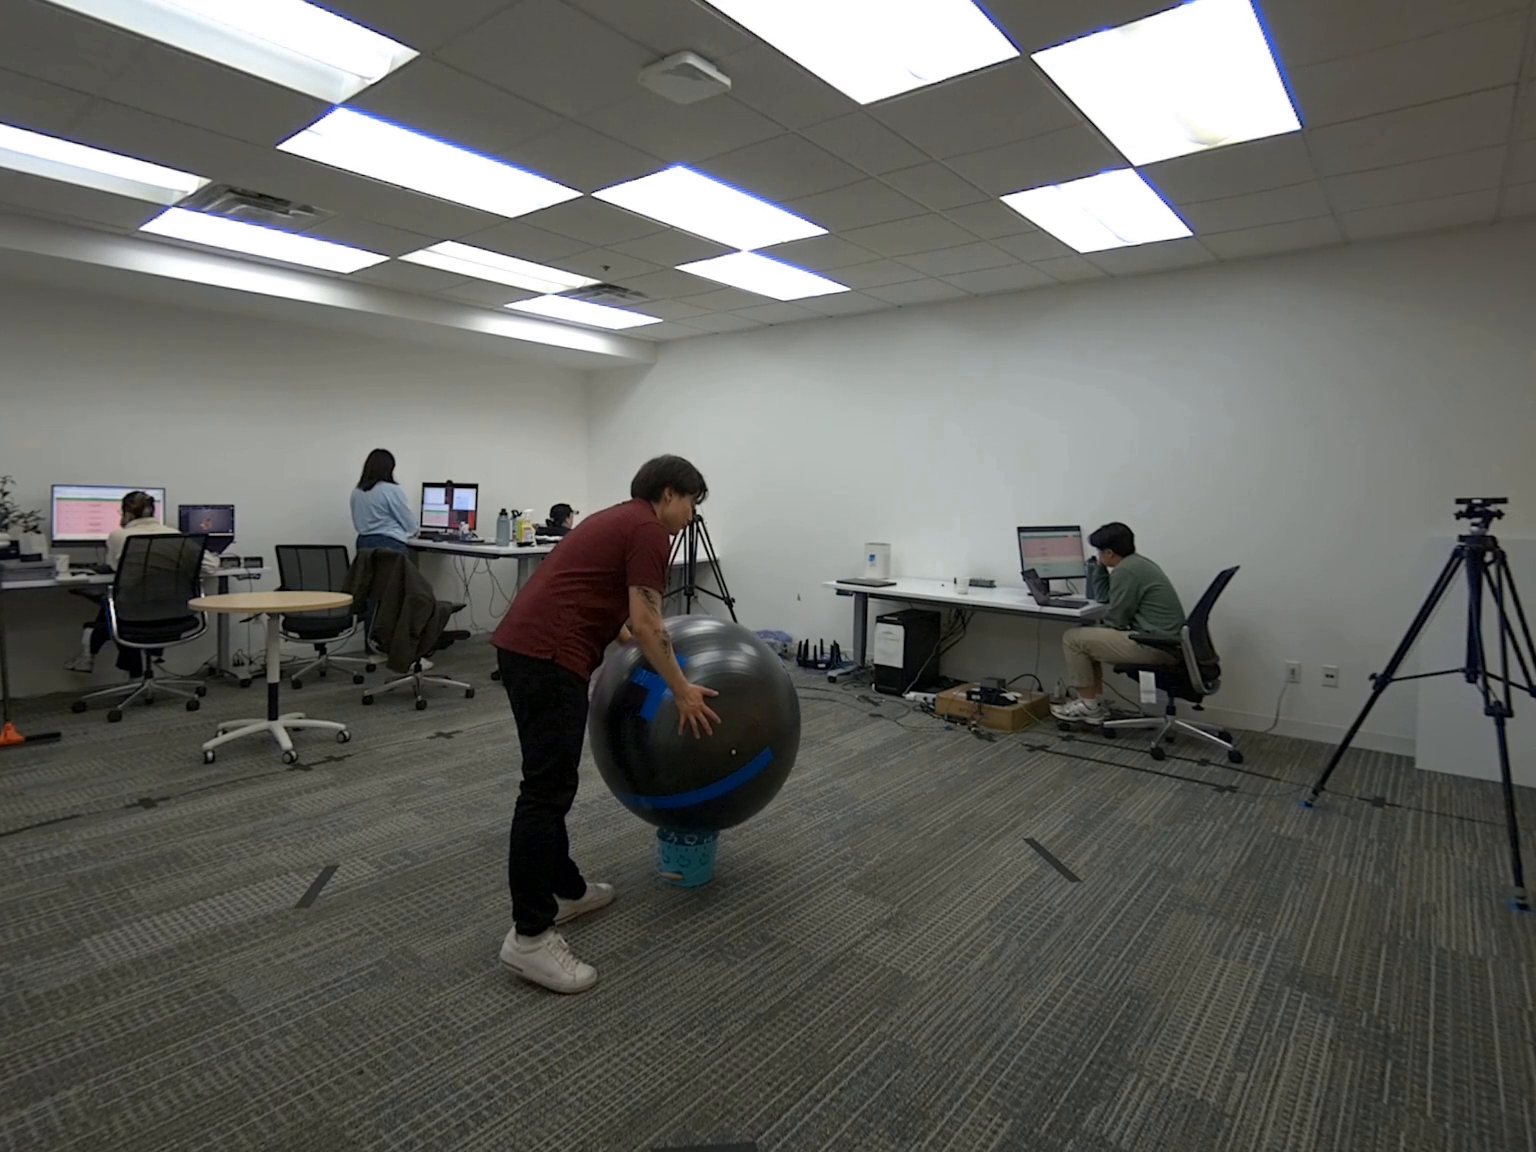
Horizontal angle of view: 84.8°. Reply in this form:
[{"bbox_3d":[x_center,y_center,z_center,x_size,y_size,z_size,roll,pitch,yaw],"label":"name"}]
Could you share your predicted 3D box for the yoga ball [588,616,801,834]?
[{"bbox_3d":[-0.260,0.515,3.039,0.757,0.755,0.762,1,4,-2],"label":"yoga ball"}]
